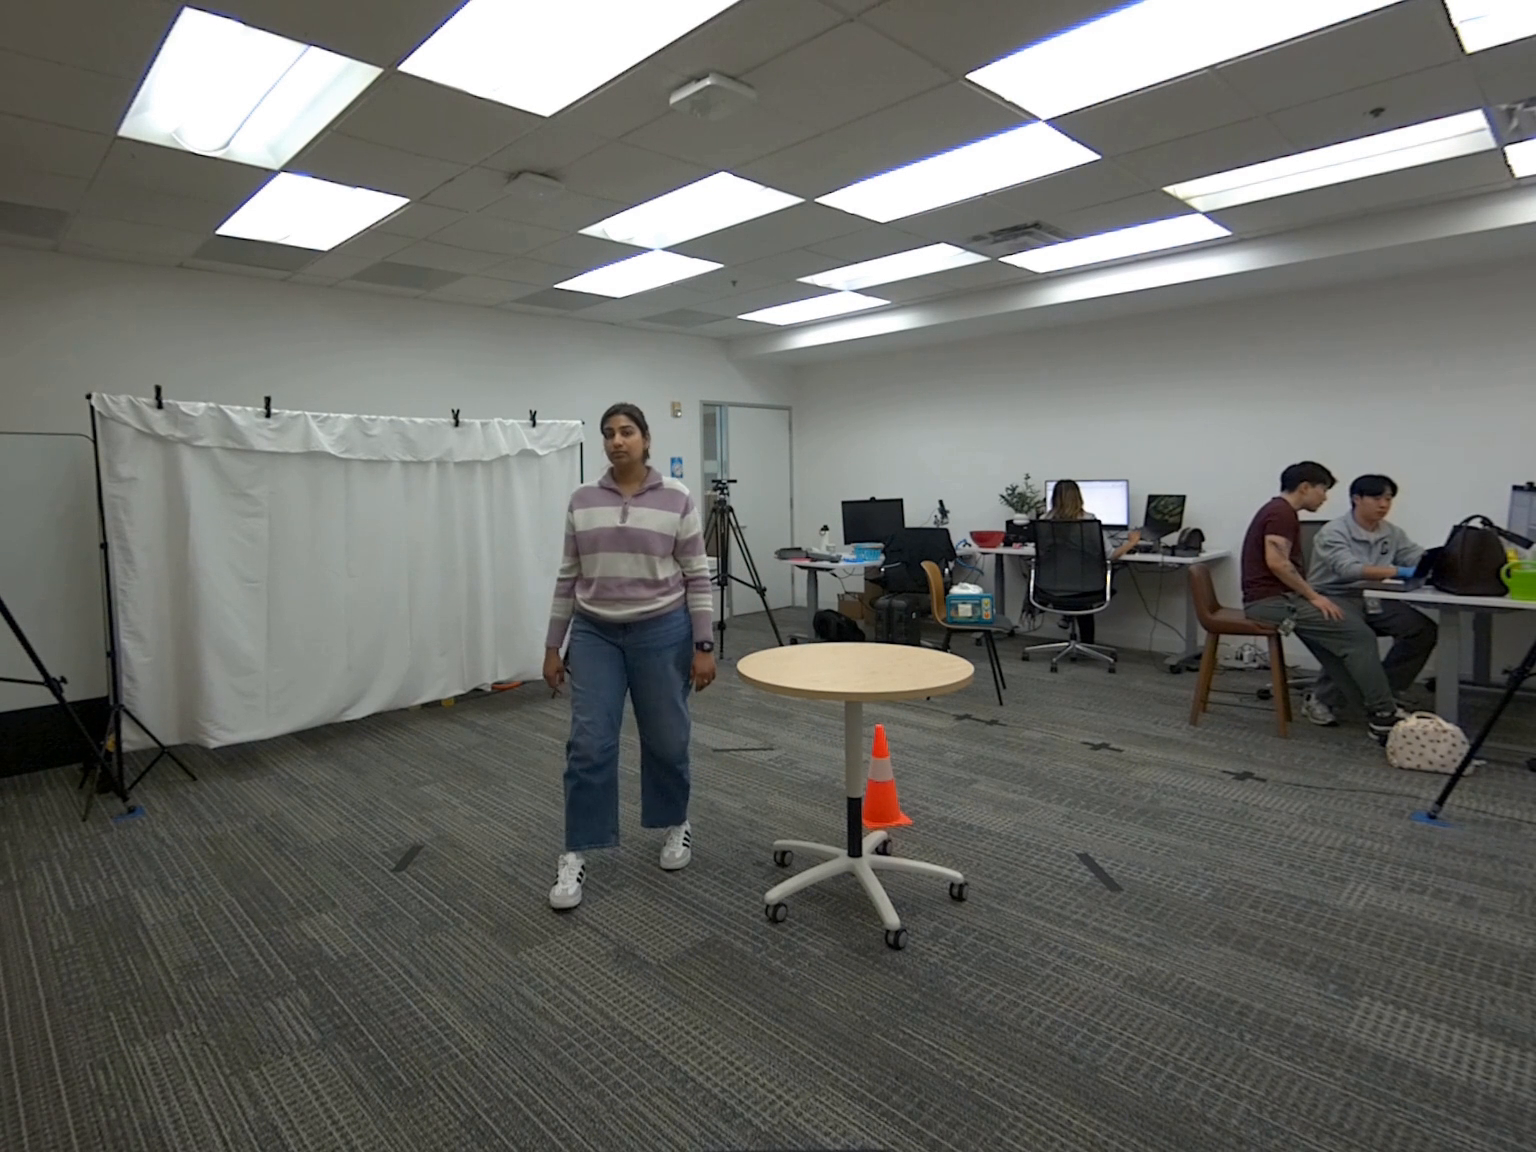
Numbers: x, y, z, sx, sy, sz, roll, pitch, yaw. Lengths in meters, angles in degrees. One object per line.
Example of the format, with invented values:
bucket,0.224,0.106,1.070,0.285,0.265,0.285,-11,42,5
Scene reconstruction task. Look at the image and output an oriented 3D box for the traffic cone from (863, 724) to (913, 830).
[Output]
traffic cone,0.462,0.809,3.515,0.202,0.382,0.207,-2,5,-14
